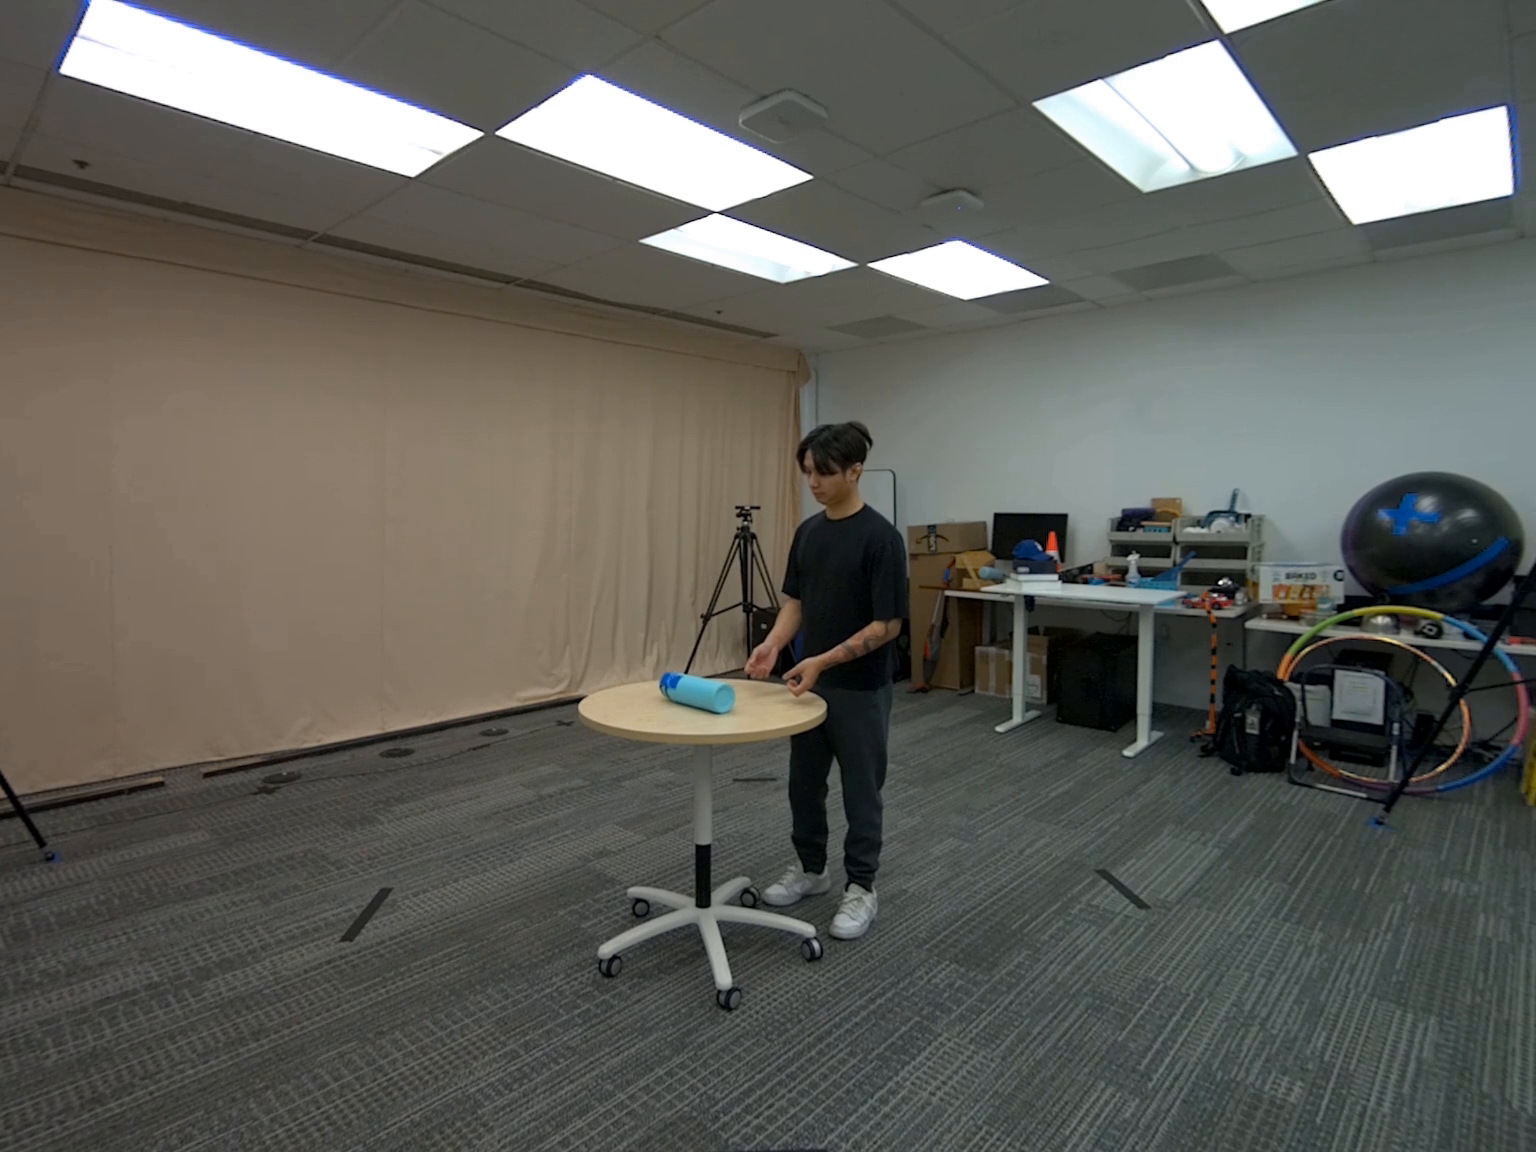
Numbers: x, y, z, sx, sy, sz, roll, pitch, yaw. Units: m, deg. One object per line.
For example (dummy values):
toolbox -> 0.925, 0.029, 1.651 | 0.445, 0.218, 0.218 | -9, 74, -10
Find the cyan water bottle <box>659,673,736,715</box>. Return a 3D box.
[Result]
cyan water bottle -> -0.221, 0.352, 2.572 | 0.089, 0.092, 0.293 | -3, 5, -44
